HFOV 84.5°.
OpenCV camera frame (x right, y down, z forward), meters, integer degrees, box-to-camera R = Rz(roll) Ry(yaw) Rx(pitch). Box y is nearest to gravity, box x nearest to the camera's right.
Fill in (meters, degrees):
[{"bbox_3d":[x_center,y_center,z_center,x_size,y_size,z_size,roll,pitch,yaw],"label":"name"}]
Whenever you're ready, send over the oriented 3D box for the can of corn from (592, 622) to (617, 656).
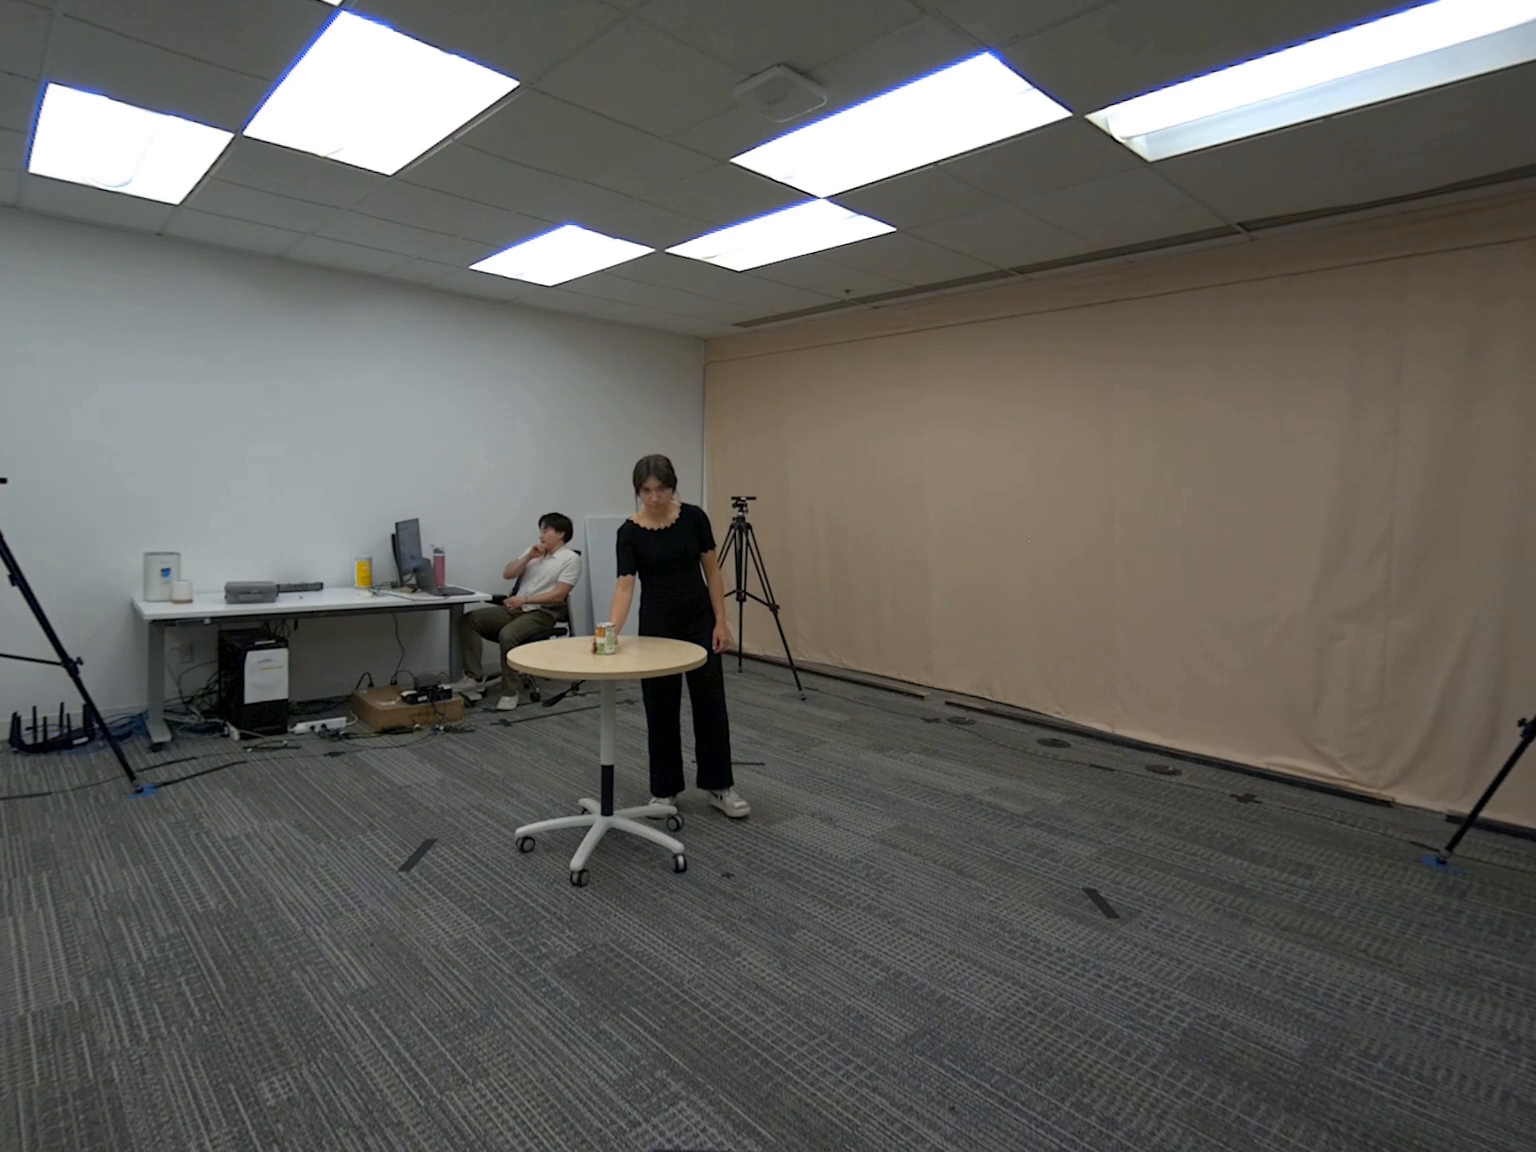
[{"bbox_3d":[-0.639,0.243,3.233,0.074,0.111,0.074,-1,0,-1],"label":"can of corn"}]
